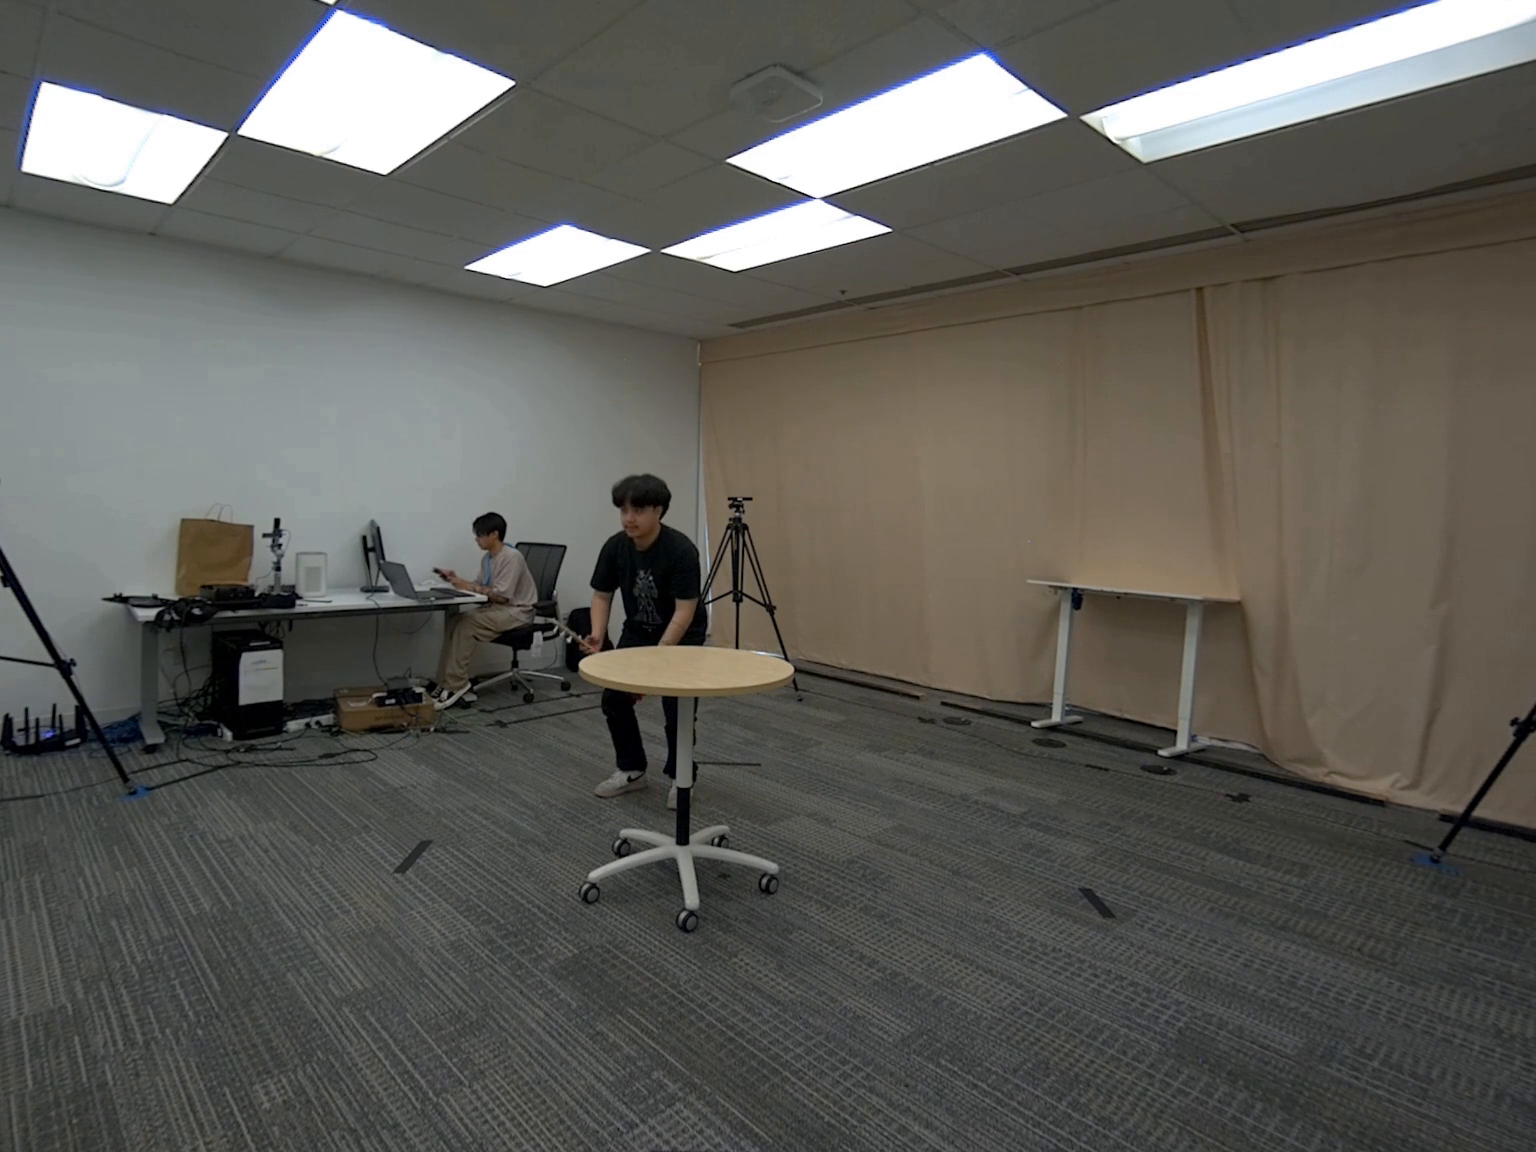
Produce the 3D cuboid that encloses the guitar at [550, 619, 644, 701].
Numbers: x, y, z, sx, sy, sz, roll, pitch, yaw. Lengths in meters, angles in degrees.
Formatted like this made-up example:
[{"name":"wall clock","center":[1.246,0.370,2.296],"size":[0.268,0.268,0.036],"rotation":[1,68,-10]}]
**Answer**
[{"name":"guitar","center":[-0.754,0.379,3.652],"size":[0.500,0.071,0.191],"rotation":[34,-24,5]}]
